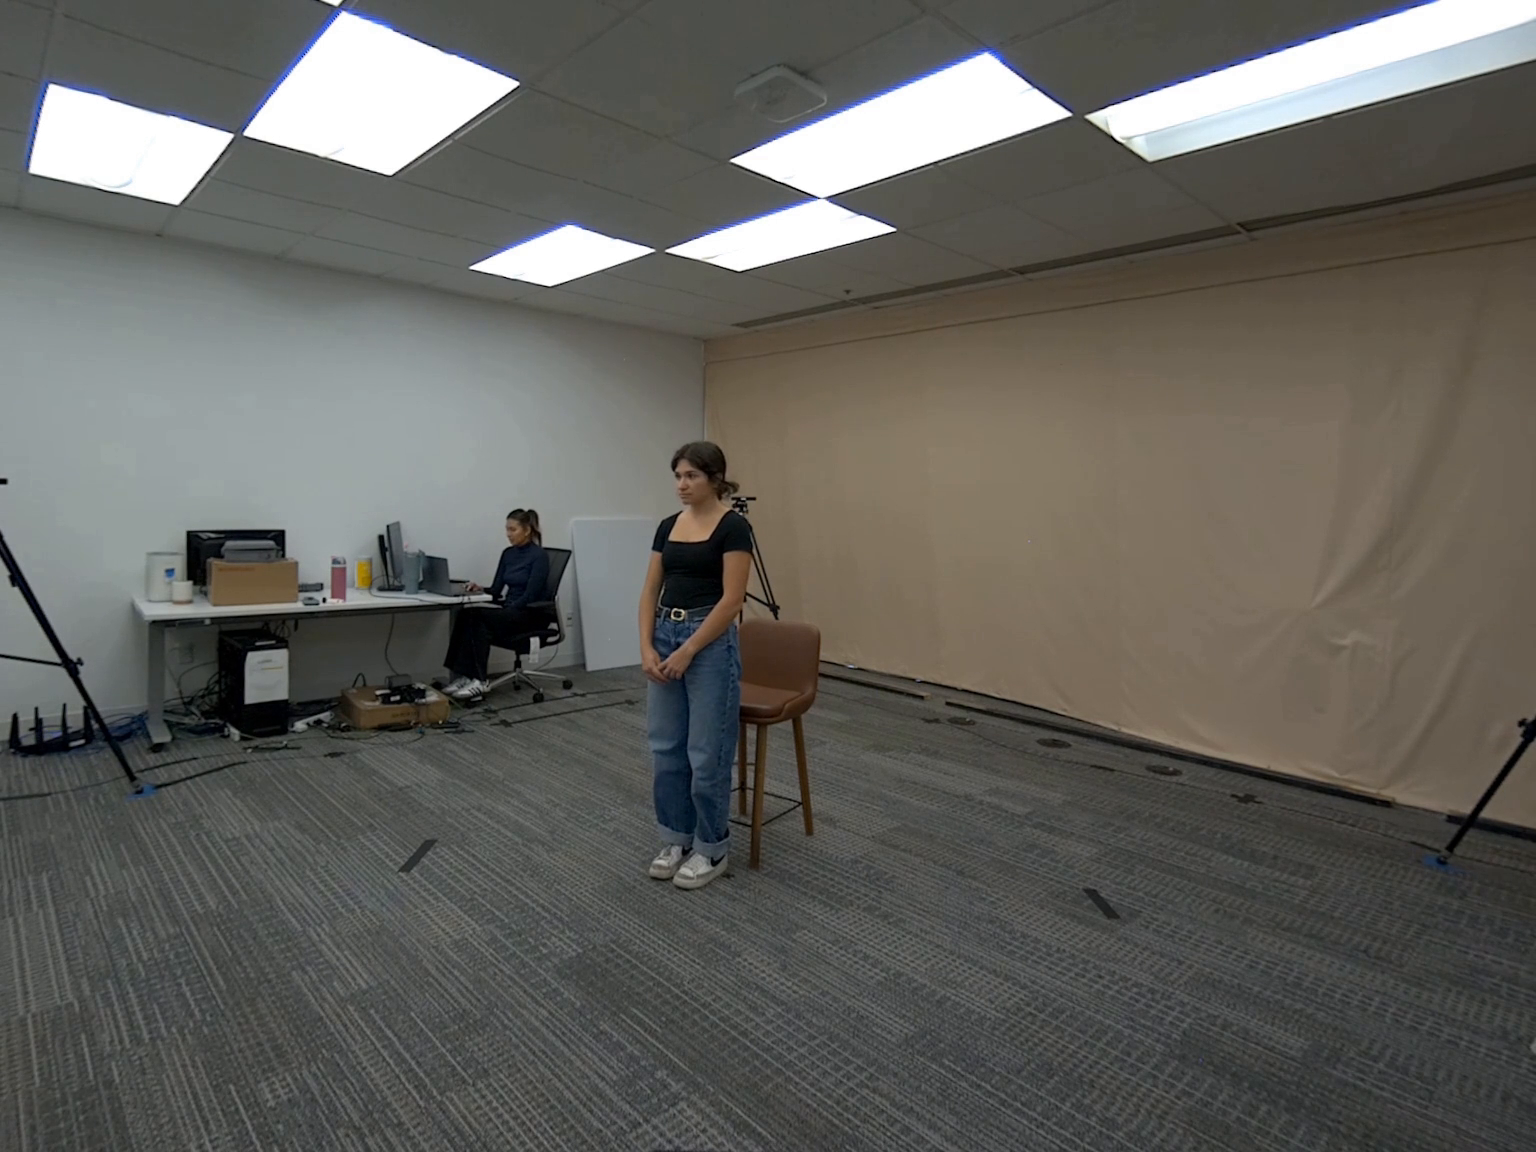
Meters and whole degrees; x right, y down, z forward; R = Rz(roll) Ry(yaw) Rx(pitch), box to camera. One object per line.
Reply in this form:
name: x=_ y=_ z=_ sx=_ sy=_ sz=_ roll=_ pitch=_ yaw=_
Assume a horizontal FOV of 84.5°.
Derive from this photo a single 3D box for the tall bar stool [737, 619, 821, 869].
tall bar stool: x=-0.074 y=0.645 z=3.430 sx=0.467 sy=0.889 sz=0.457 roll=4 pitch=2 yaw=36
